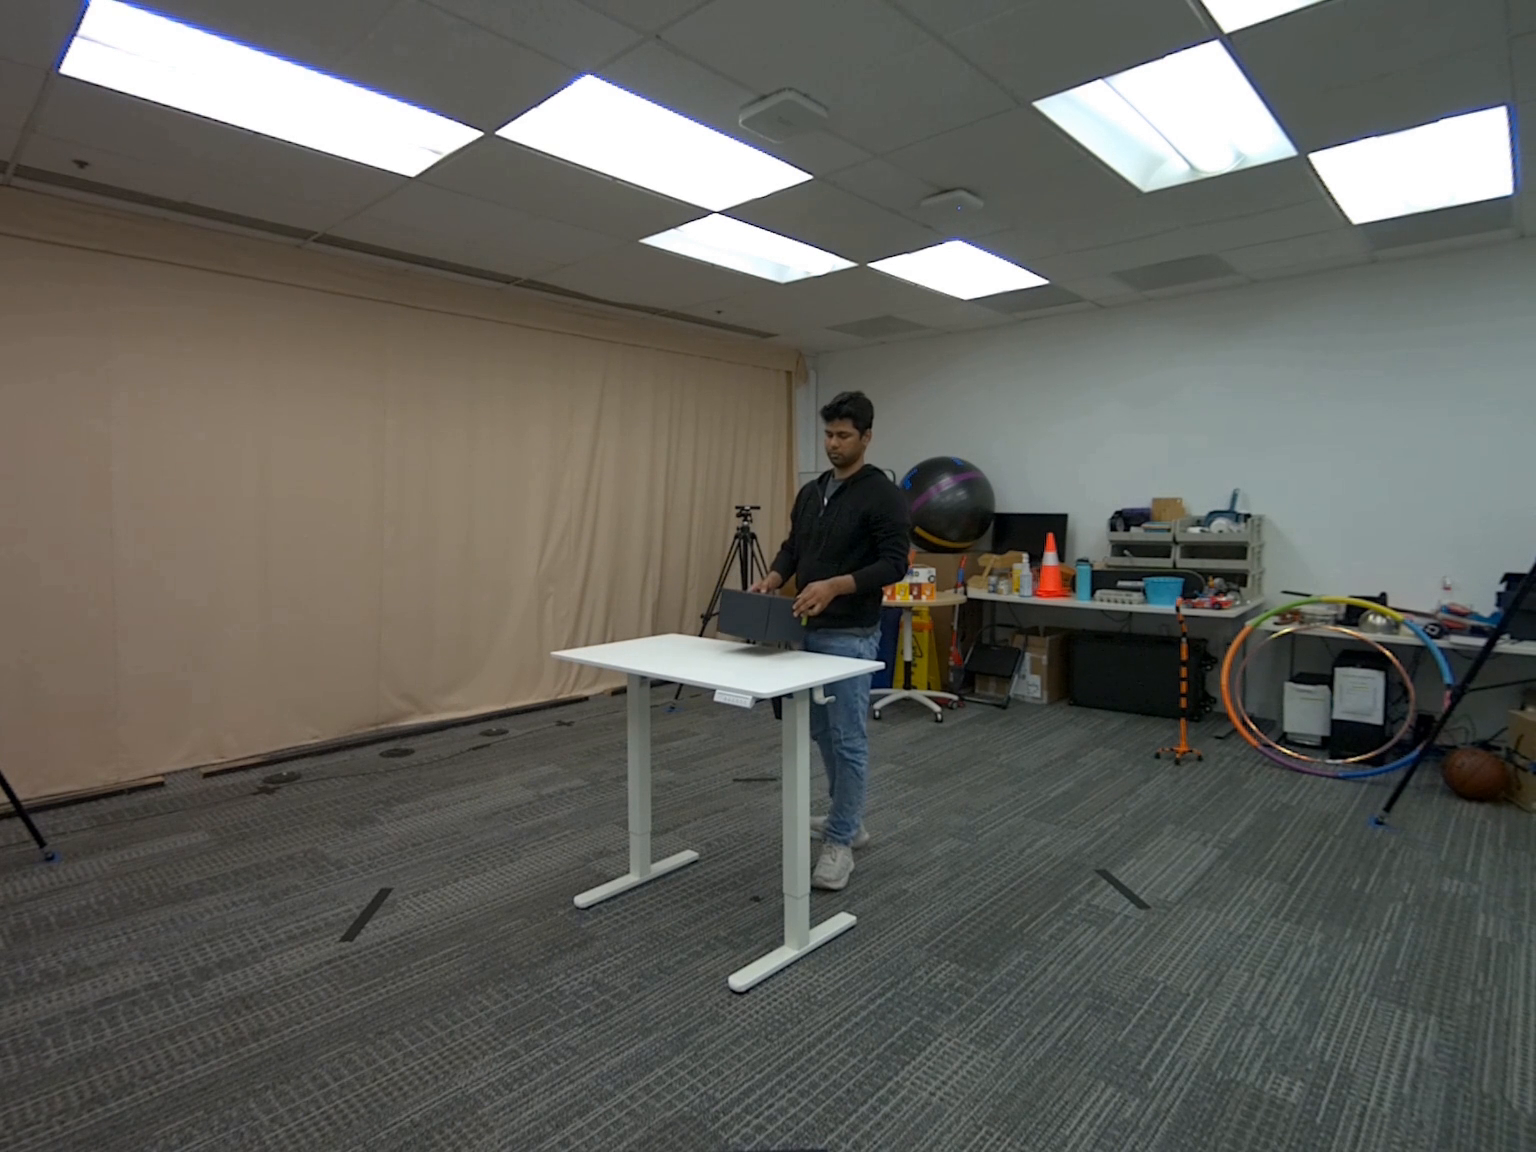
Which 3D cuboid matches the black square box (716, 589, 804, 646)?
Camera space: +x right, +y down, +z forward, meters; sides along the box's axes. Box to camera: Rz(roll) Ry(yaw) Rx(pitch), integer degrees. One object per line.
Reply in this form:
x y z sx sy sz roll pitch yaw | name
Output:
-0.024 0.140 2.967 0.236 0.156 0.209 8 -1 41 | black square box
